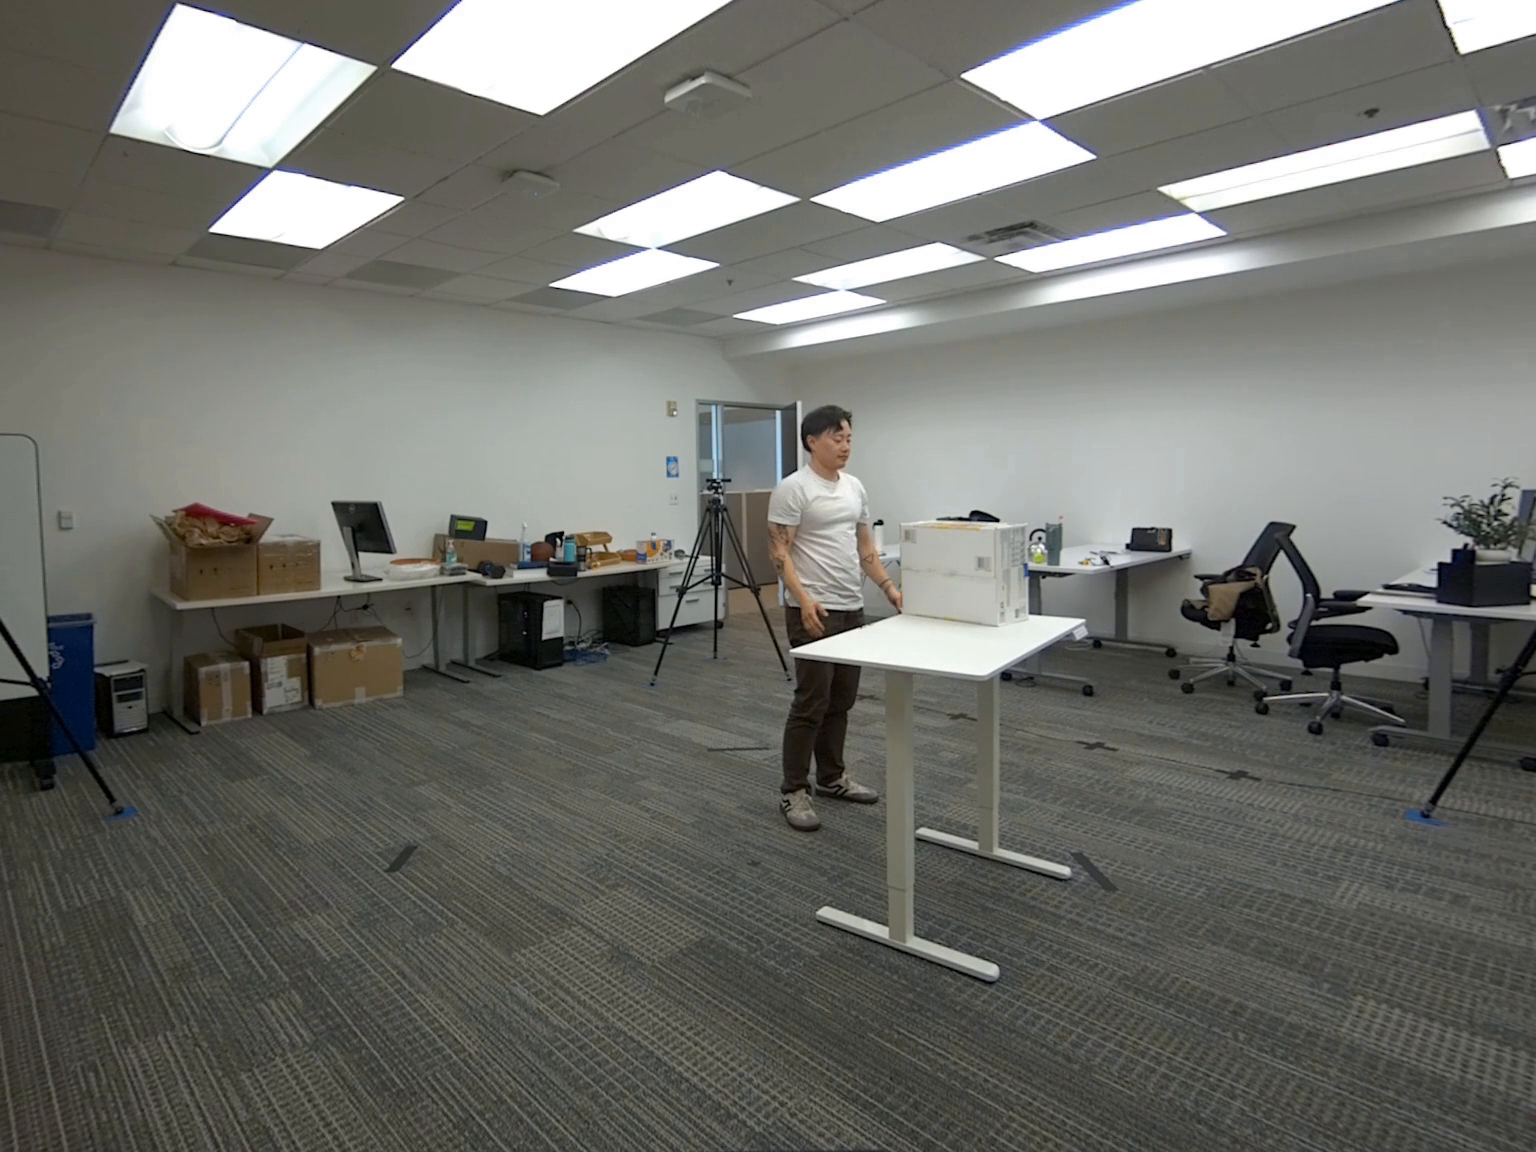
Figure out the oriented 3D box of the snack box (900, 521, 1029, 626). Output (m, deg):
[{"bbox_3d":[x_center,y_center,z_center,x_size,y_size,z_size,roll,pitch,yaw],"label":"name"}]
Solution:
[{"bbox_3d":[0.707,-0.020,3.088,0.200,0.339,0.417,-6,7,-41],"label":"snack box"}]
